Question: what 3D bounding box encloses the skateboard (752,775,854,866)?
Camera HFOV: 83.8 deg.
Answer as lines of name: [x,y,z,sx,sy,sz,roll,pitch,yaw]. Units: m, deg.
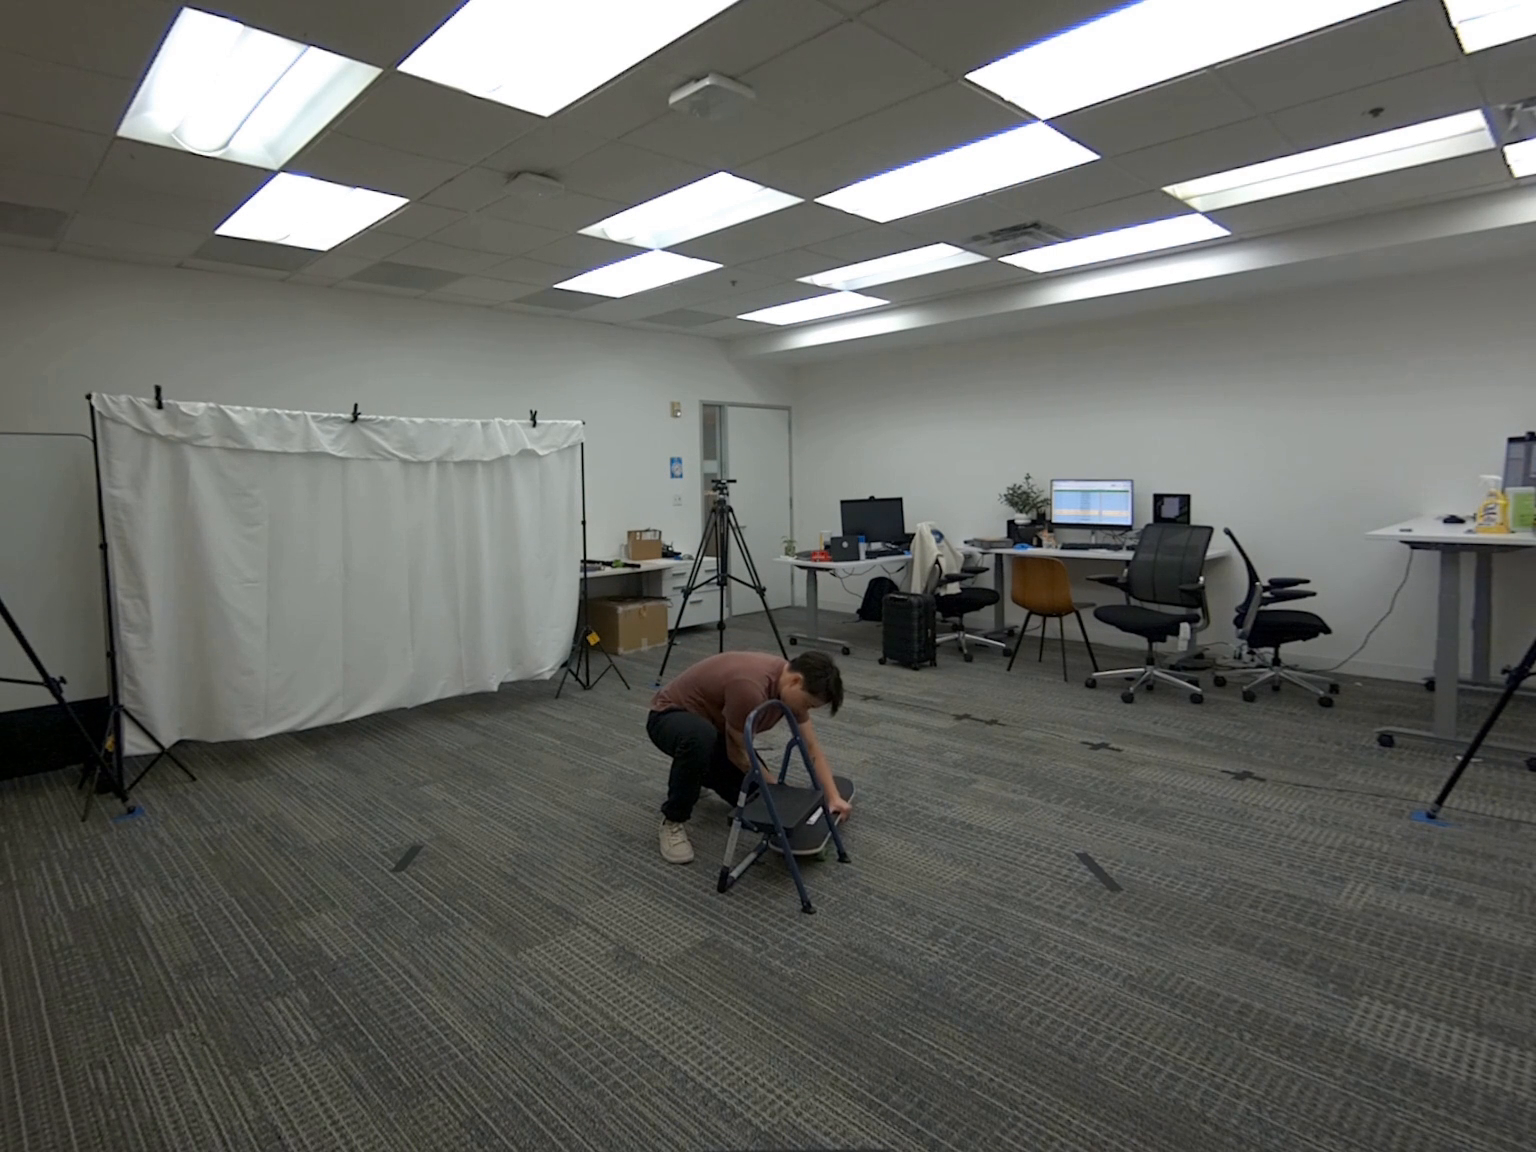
skateboard: [0.185,0.951,3.336,0.197,0.110,0.775,1,7,18]
